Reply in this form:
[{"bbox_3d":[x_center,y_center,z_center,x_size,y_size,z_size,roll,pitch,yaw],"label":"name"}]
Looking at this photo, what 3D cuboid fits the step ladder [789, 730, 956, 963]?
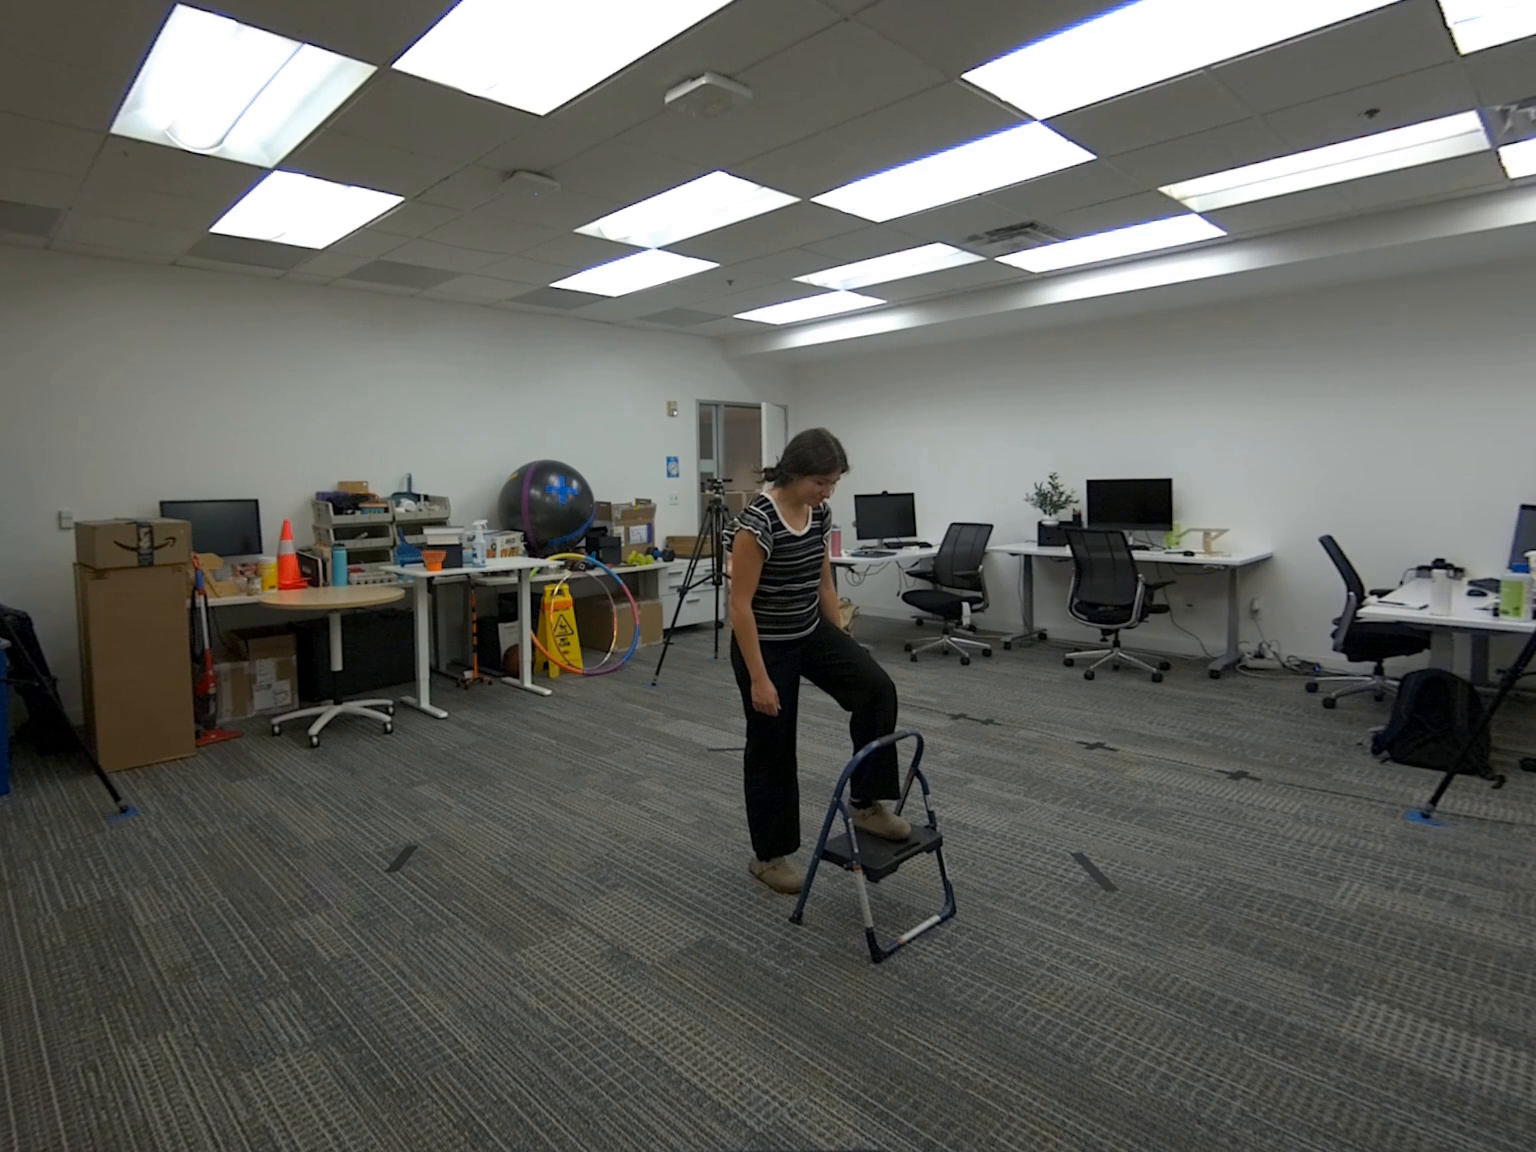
[{"bbox_3d":[0.337,0.783,2.689,0.419,0.604,0.360,-5,6,-45],"label":"step ladder"}]
